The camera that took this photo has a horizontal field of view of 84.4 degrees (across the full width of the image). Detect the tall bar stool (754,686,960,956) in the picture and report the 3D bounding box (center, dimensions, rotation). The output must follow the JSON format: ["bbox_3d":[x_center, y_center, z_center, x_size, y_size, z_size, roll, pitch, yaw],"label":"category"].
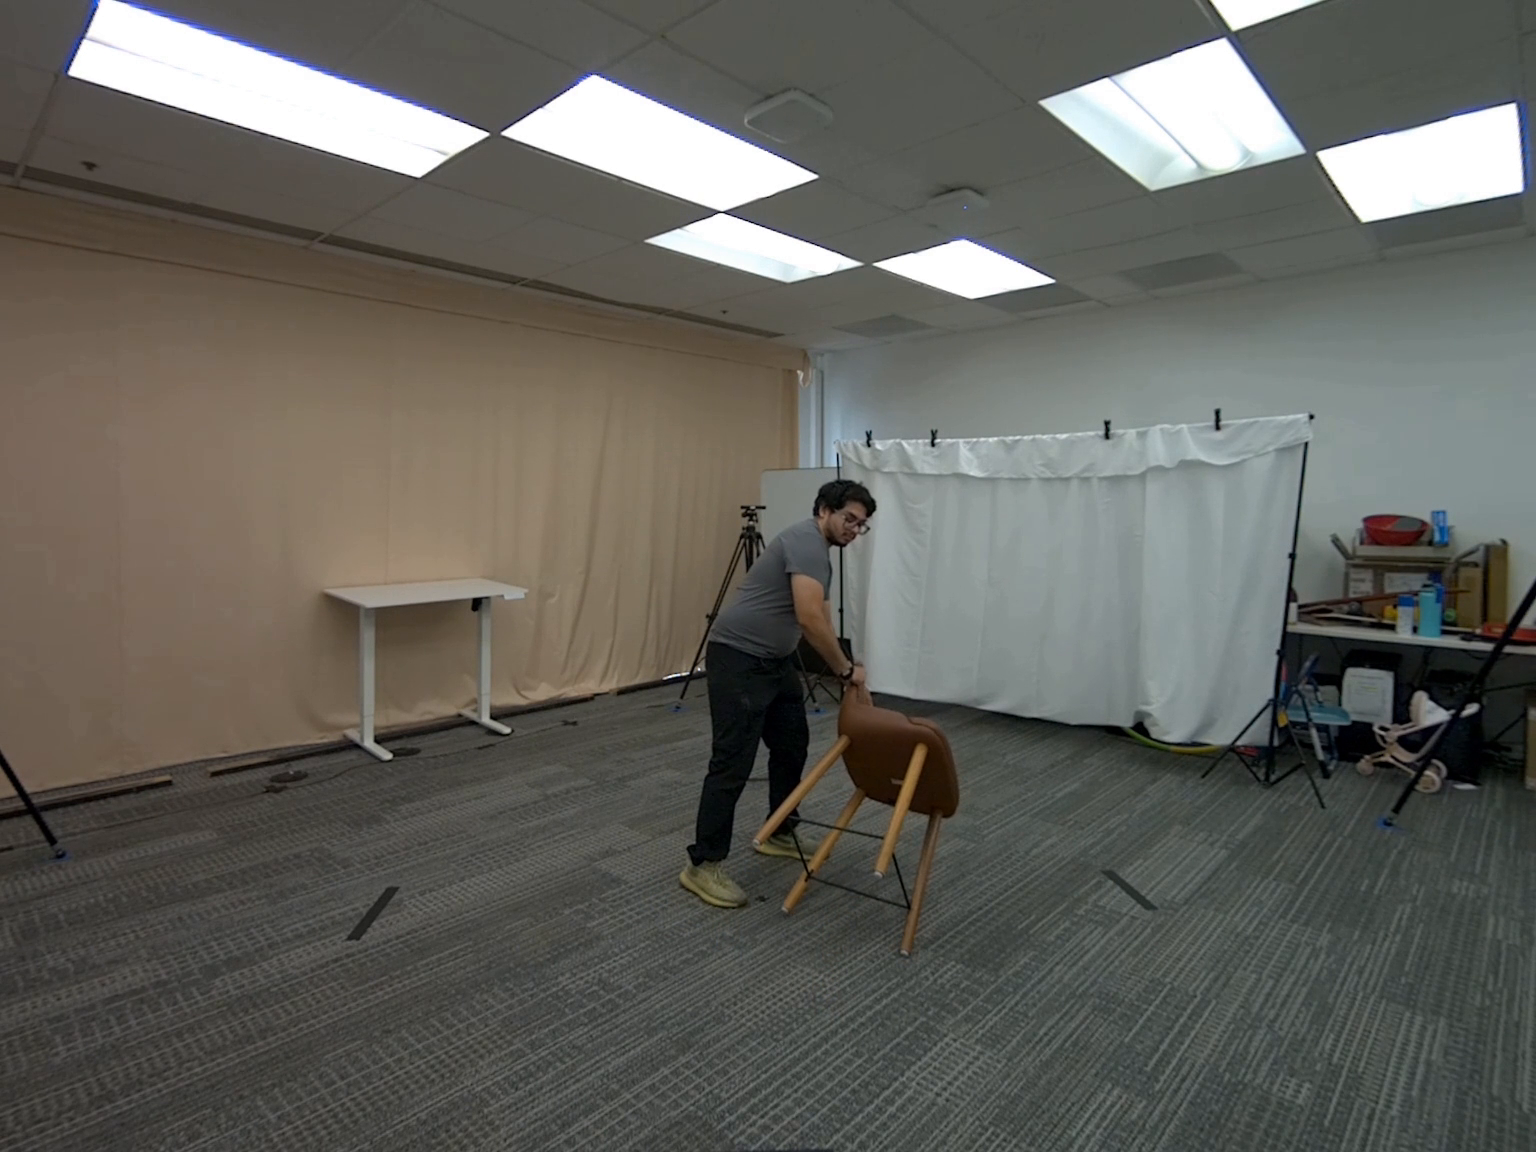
[{"bbox_3d":[0.386,0.742,2.924,0.482,0.445,0.885,1,36,32],"label":"tall bar stool"}]
